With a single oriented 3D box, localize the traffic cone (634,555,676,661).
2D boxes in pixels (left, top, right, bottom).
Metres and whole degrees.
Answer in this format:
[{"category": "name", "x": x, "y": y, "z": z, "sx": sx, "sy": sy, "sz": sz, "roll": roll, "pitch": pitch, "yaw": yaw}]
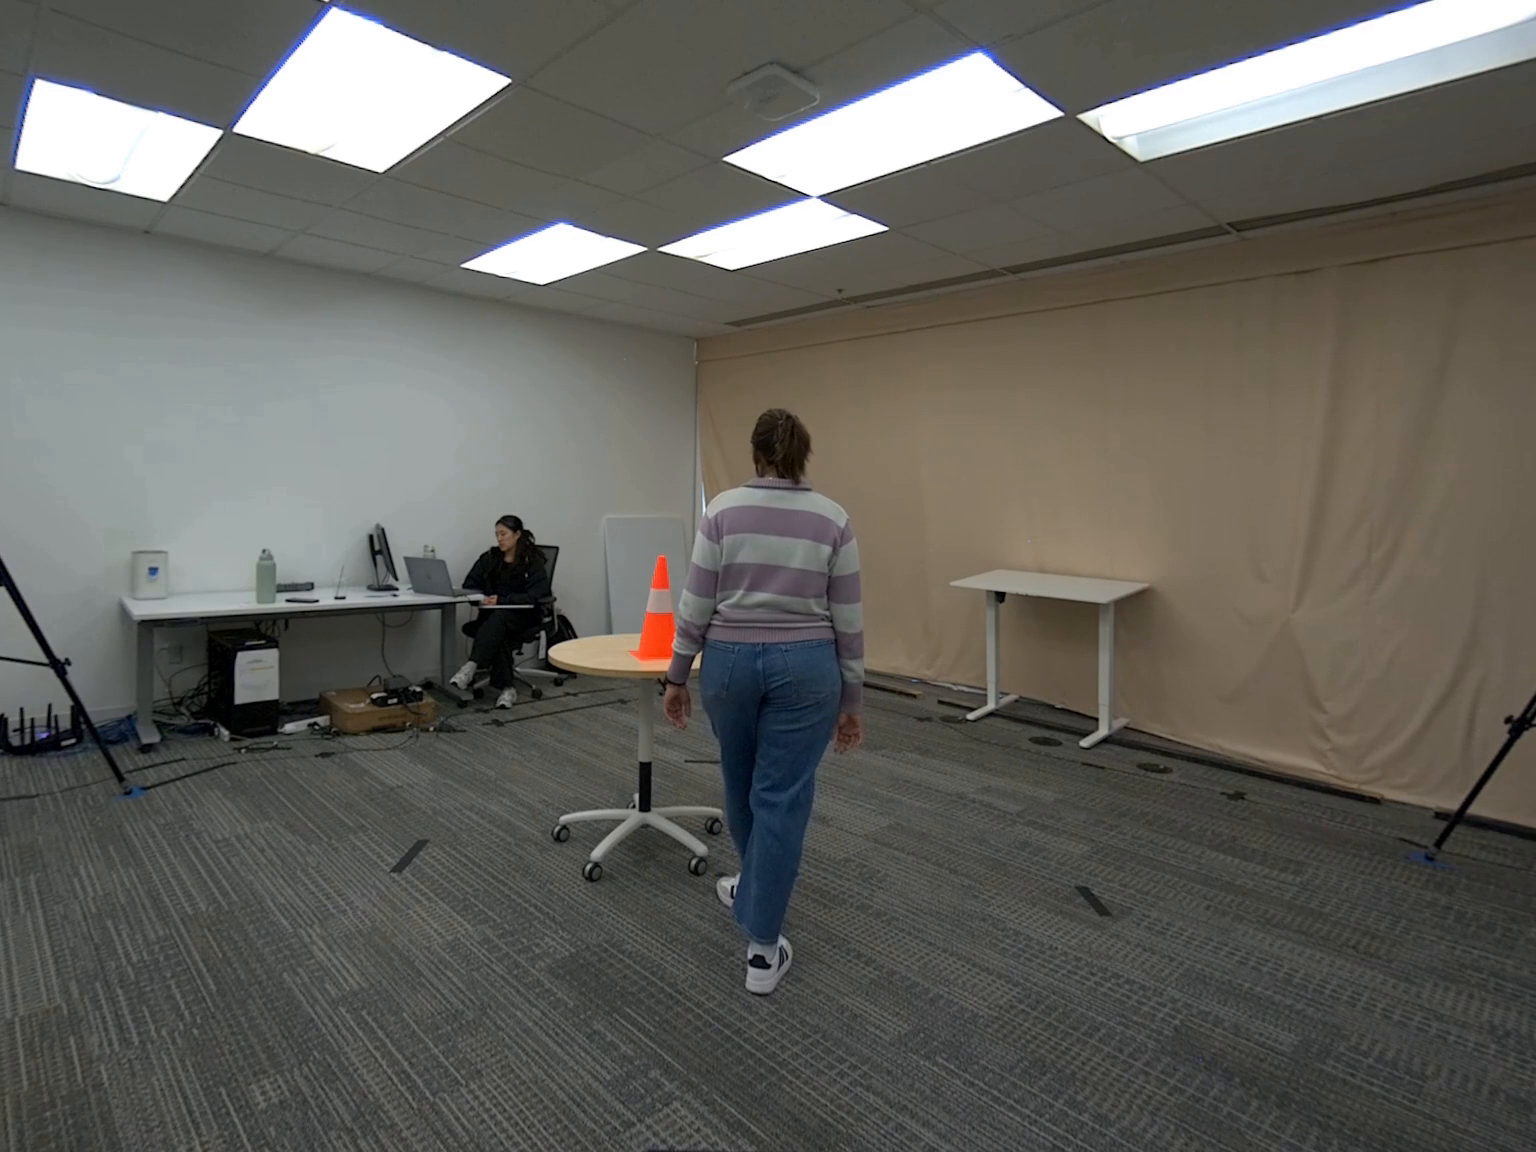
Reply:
[{"category": "traffic cone", "x": -0.423, "y": 0.116, "z": 3.222, "sx": 0.199, "sy": 0.383, "sz": 0.209, "roll": 2, "pitch": 1, "yaw": -30}]
